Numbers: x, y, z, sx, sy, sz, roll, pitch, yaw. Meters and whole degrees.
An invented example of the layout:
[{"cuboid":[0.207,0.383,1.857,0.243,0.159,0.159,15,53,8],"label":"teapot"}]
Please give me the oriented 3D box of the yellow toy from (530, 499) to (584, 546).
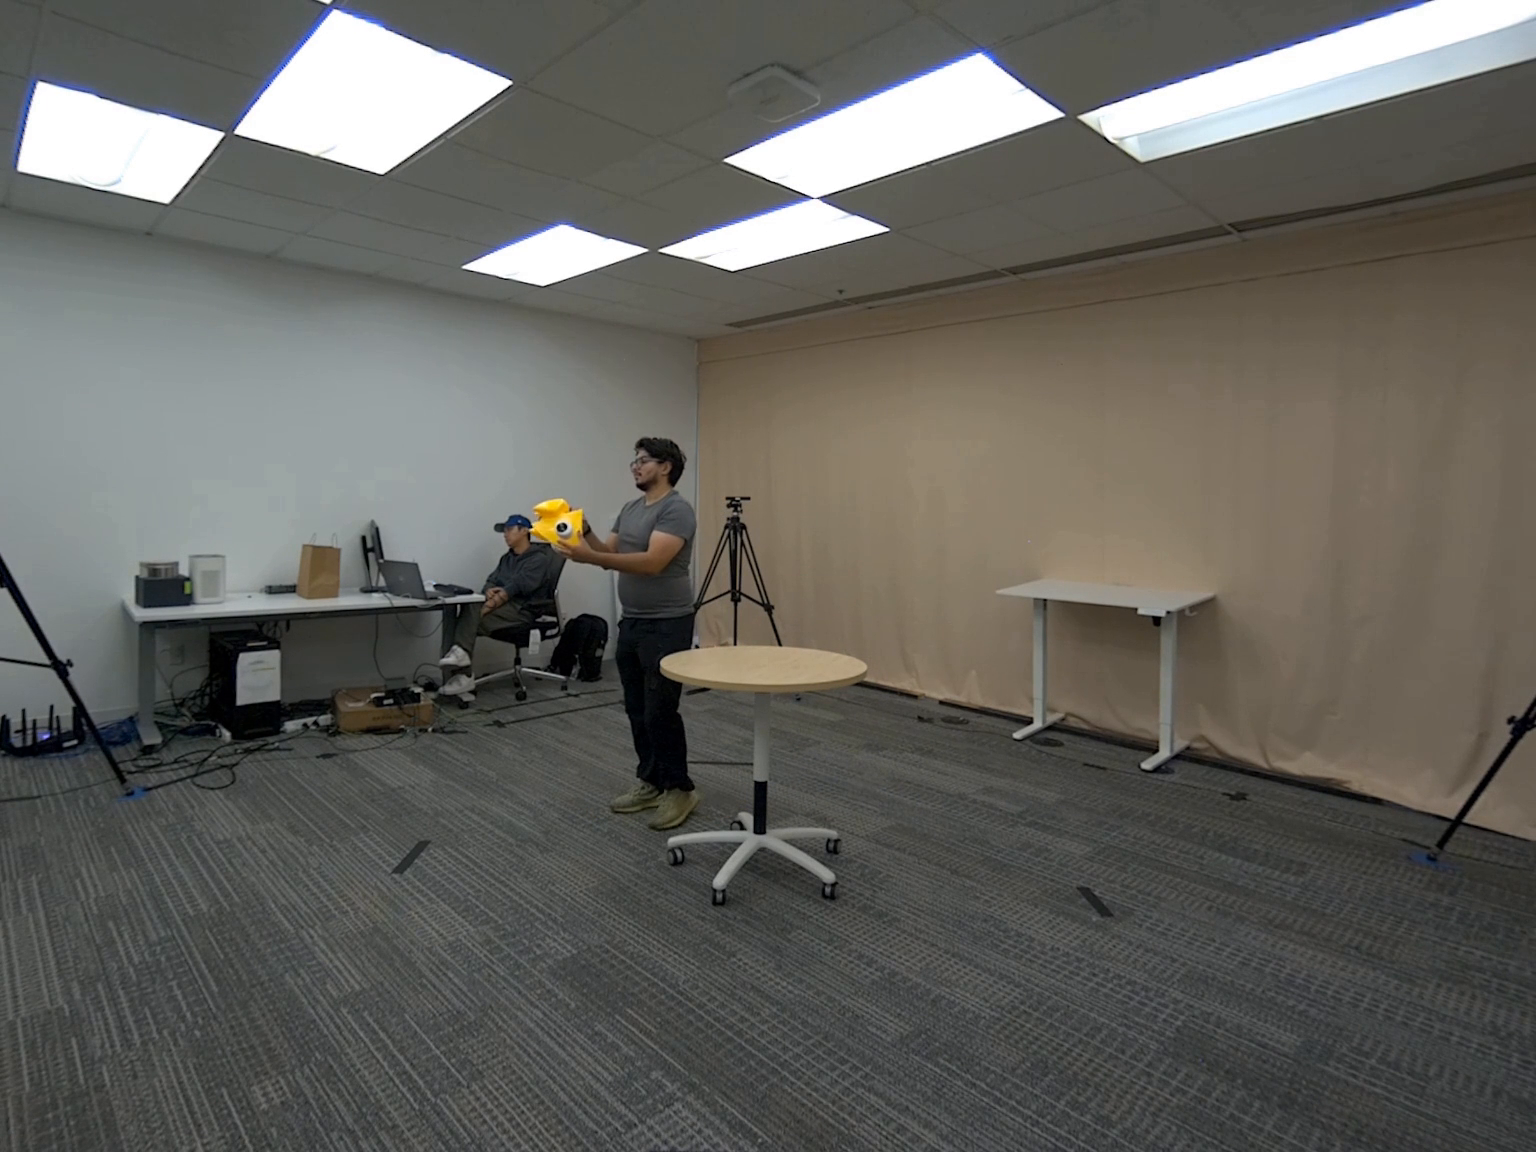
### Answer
[{"cuboid":[-0.862,-0.168,3.491,0.190,0.203,0.237,-12,53,-35],"label":"yellow toy"}]
